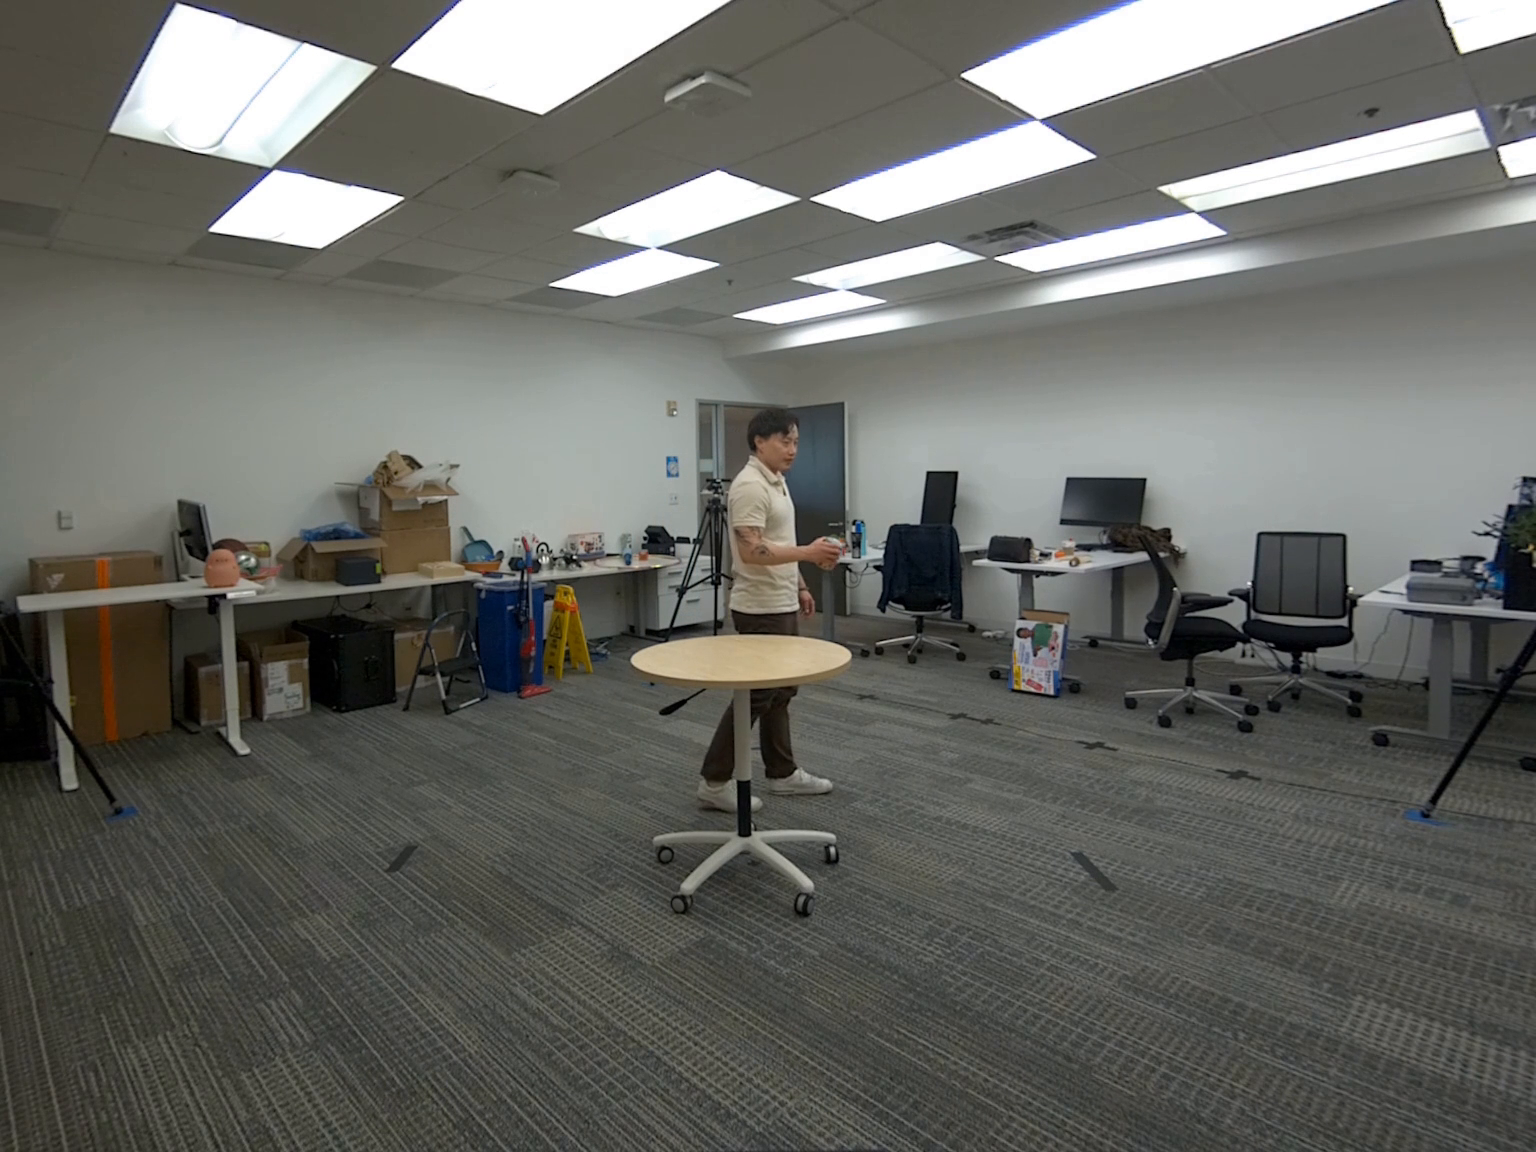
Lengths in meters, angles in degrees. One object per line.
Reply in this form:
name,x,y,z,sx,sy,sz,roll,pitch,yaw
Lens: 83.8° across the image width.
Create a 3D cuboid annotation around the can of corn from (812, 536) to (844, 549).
can of corn,0.240,-0.077,3.359,0.074,0.110,0.075,15,17,-6
